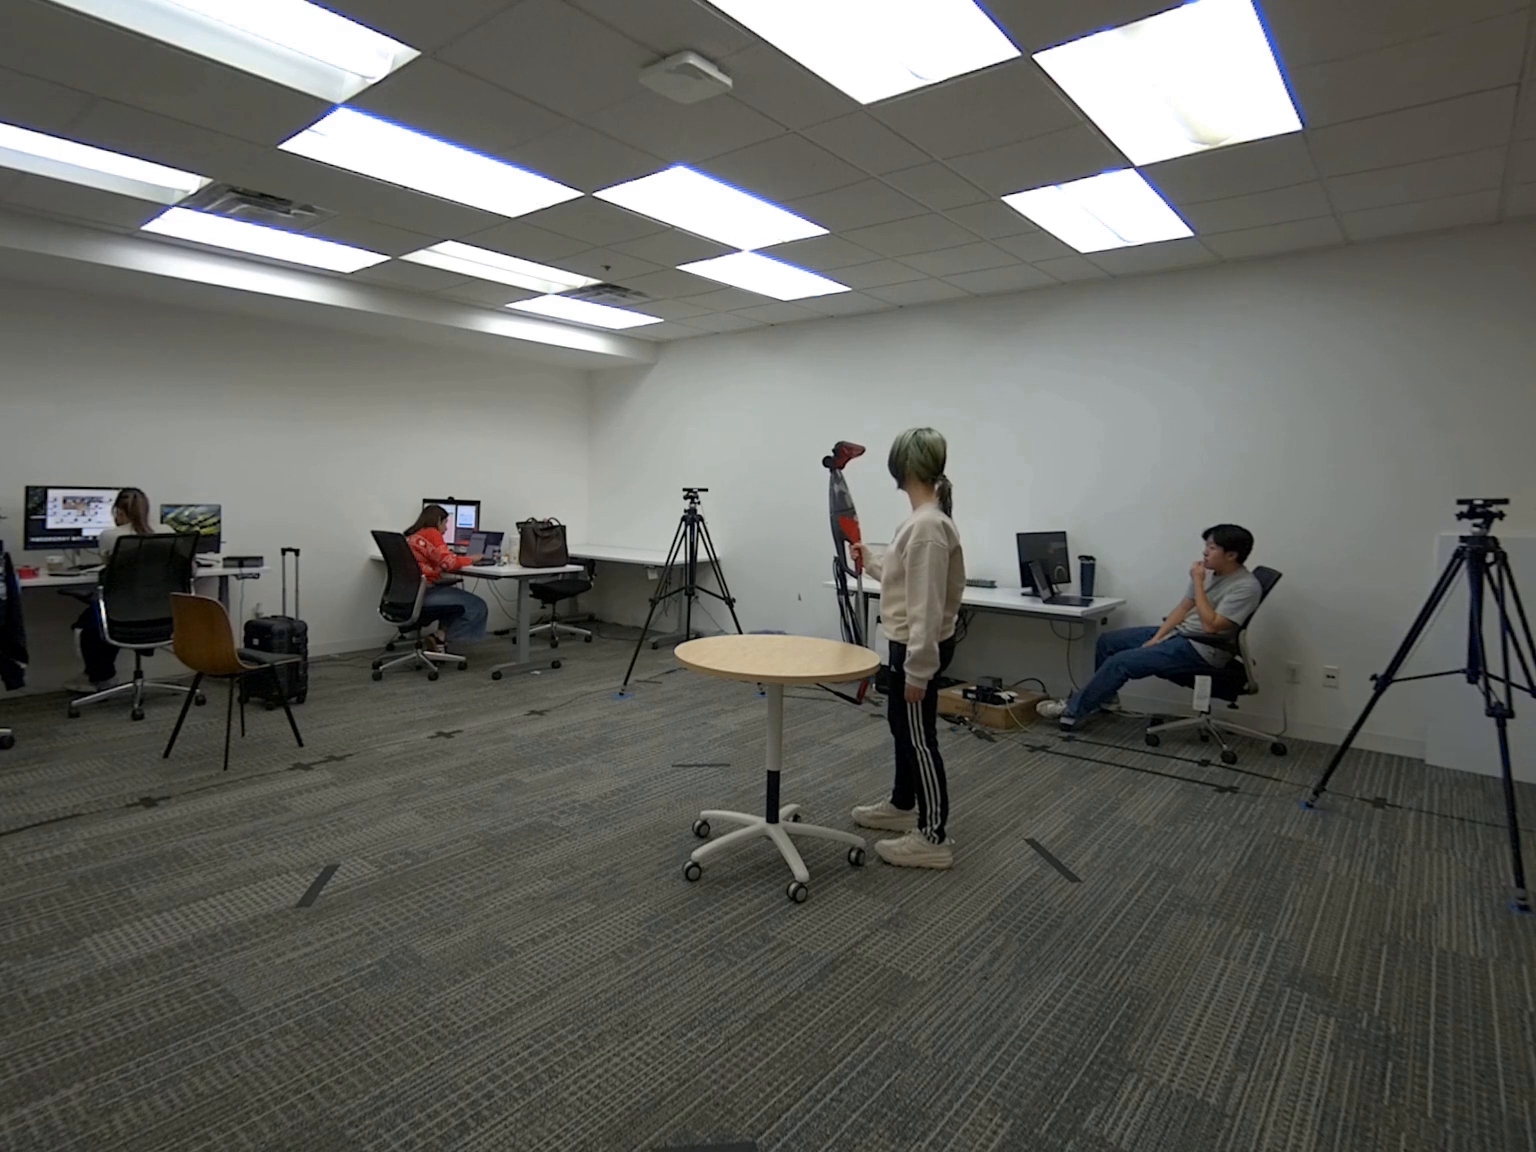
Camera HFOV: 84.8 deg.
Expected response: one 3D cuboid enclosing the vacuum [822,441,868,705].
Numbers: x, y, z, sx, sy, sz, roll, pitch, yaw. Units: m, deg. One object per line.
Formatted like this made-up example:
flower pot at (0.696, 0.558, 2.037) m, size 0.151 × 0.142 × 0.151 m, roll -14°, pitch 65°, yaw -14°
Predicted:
vacuum at (0.335, -0.010, 3.604) m, size 0.148 × 1.053 × 0.245 m, roll -4°, pitch -4°, yaw 33°
